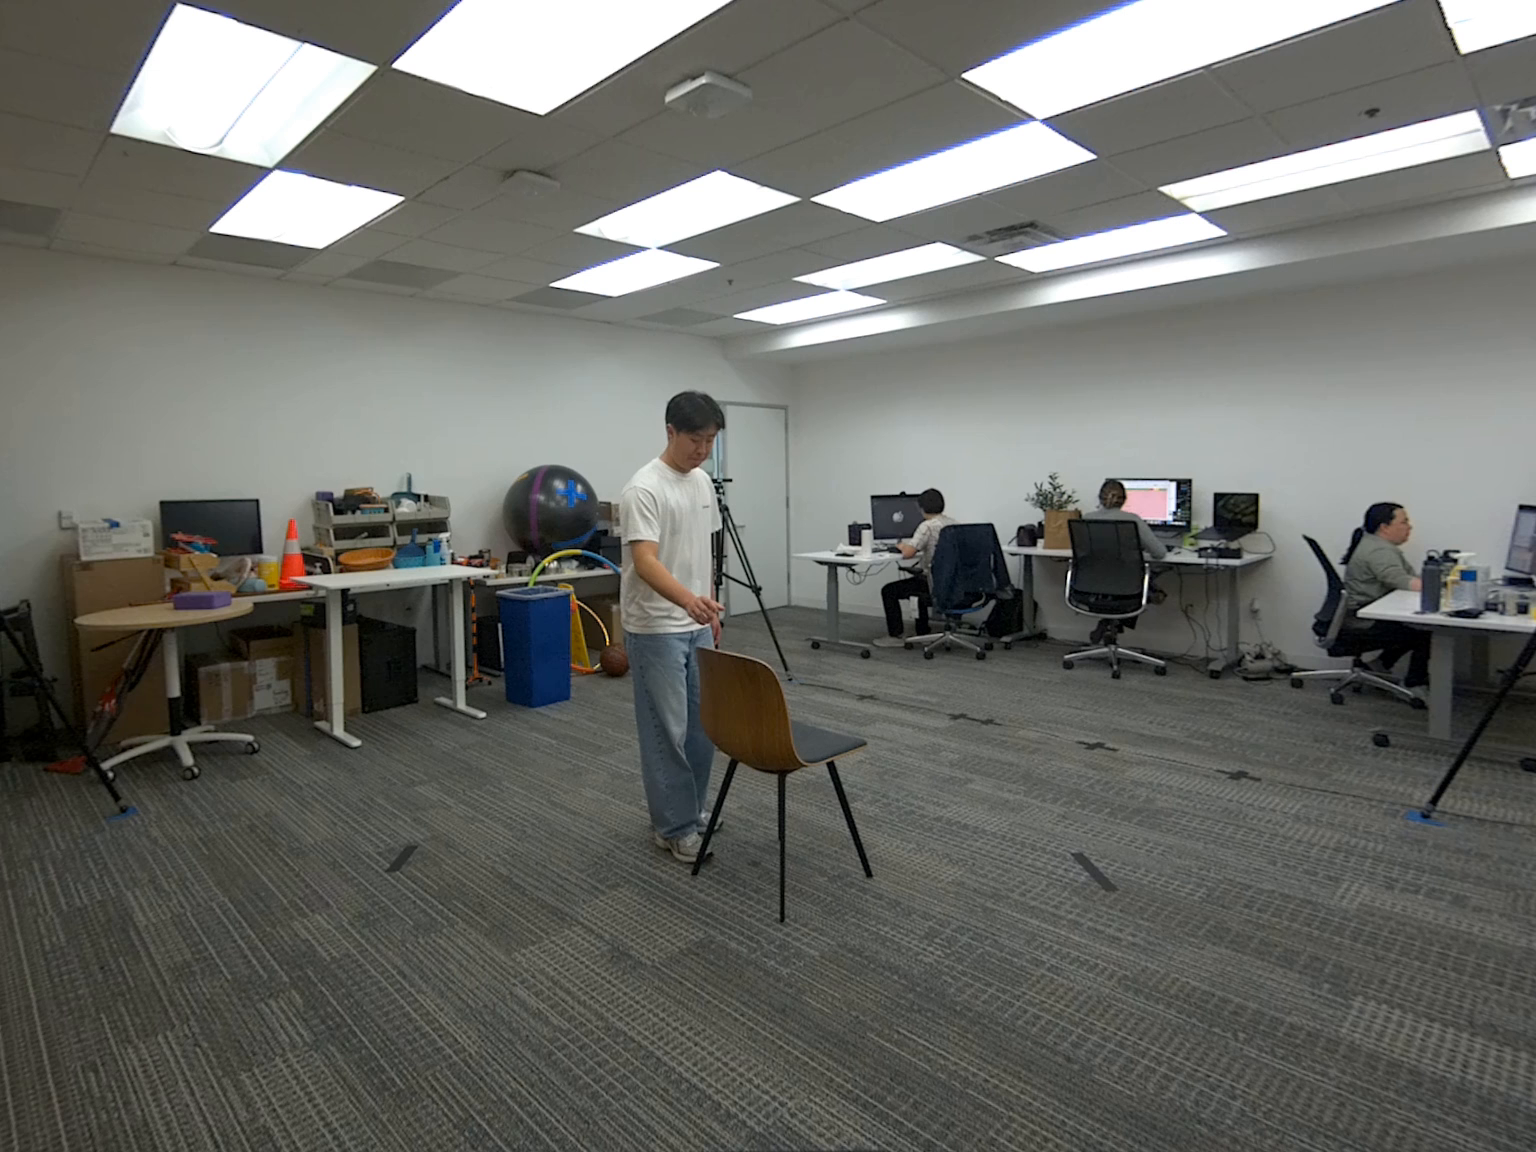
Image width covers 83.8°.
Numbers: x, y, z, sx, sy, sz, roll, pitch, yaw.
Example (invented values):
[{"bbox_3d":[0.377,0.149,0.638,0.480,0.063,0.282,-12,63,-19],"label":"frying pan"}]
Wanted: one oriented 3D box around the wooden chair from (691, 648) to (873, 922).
[{"bbox_3d":[0.052,0.634,2.967,0.511,0.872,0.493,-10,9,-42],"label":"wooden chair"}]
